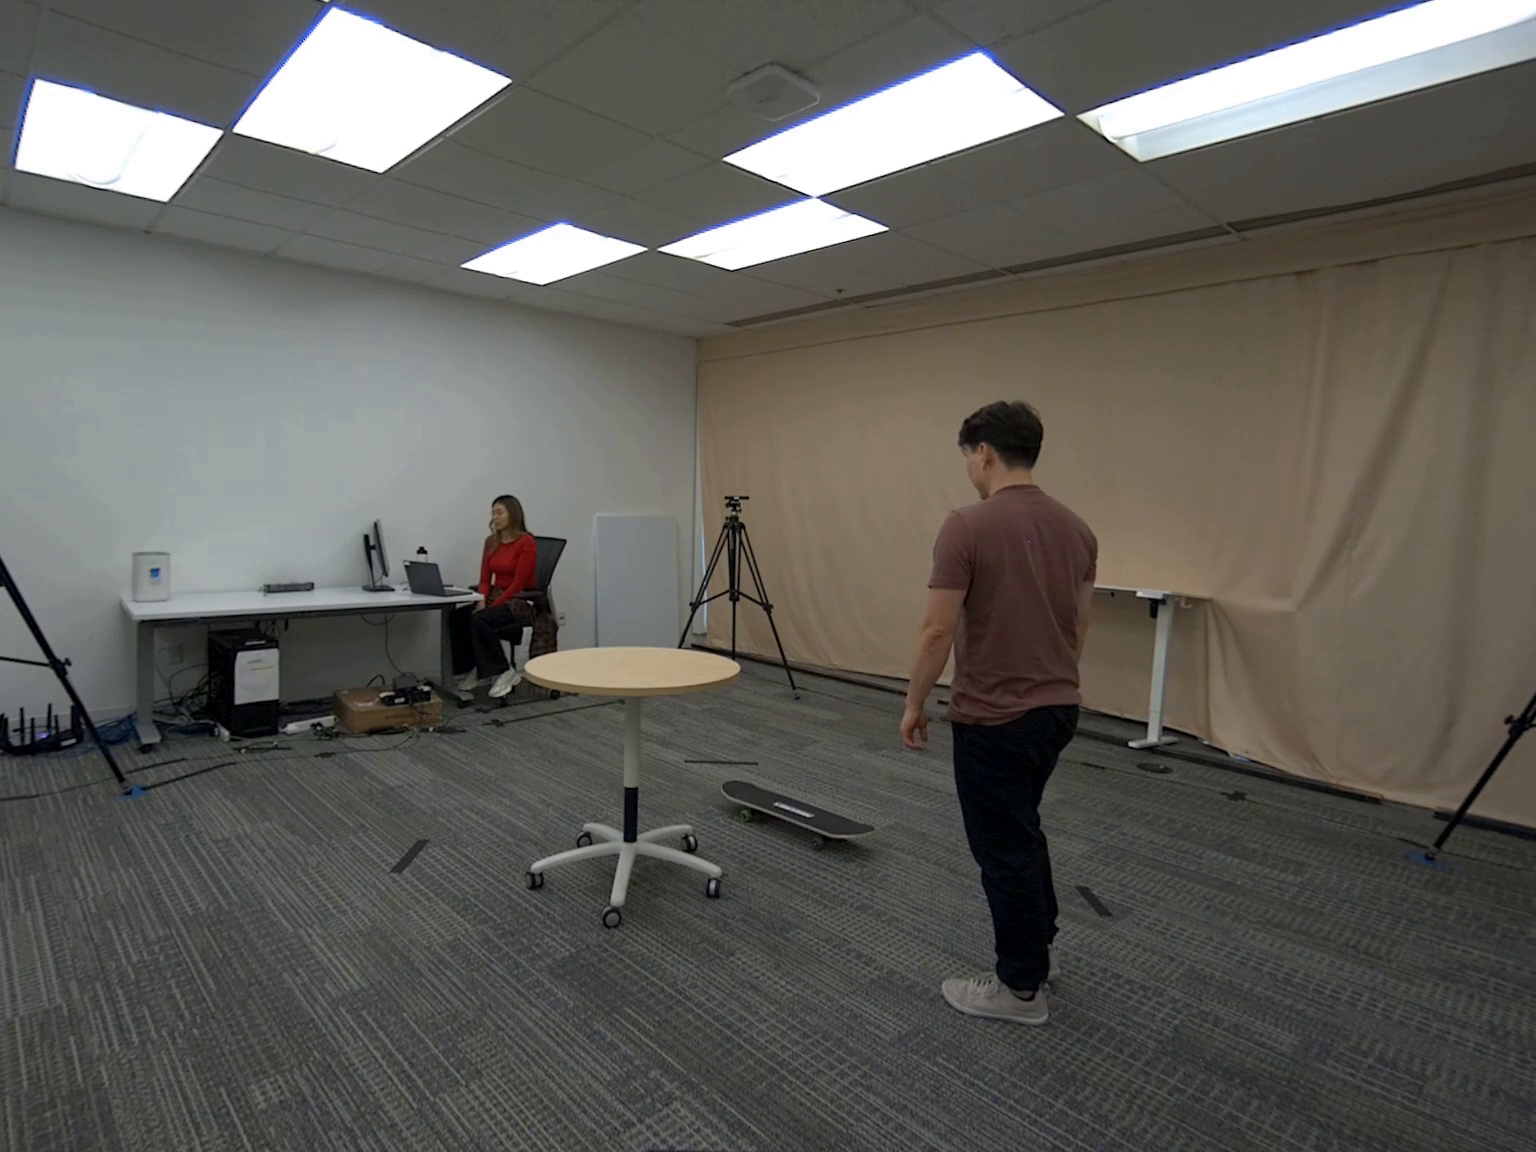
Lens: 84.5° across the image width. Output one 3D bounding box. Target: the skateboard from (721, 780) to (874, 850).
[{"bbox_3d":[0.095,1.016,3.549,0.806,0.110,0.189,6,5,44],"label":"skateboard"}]
